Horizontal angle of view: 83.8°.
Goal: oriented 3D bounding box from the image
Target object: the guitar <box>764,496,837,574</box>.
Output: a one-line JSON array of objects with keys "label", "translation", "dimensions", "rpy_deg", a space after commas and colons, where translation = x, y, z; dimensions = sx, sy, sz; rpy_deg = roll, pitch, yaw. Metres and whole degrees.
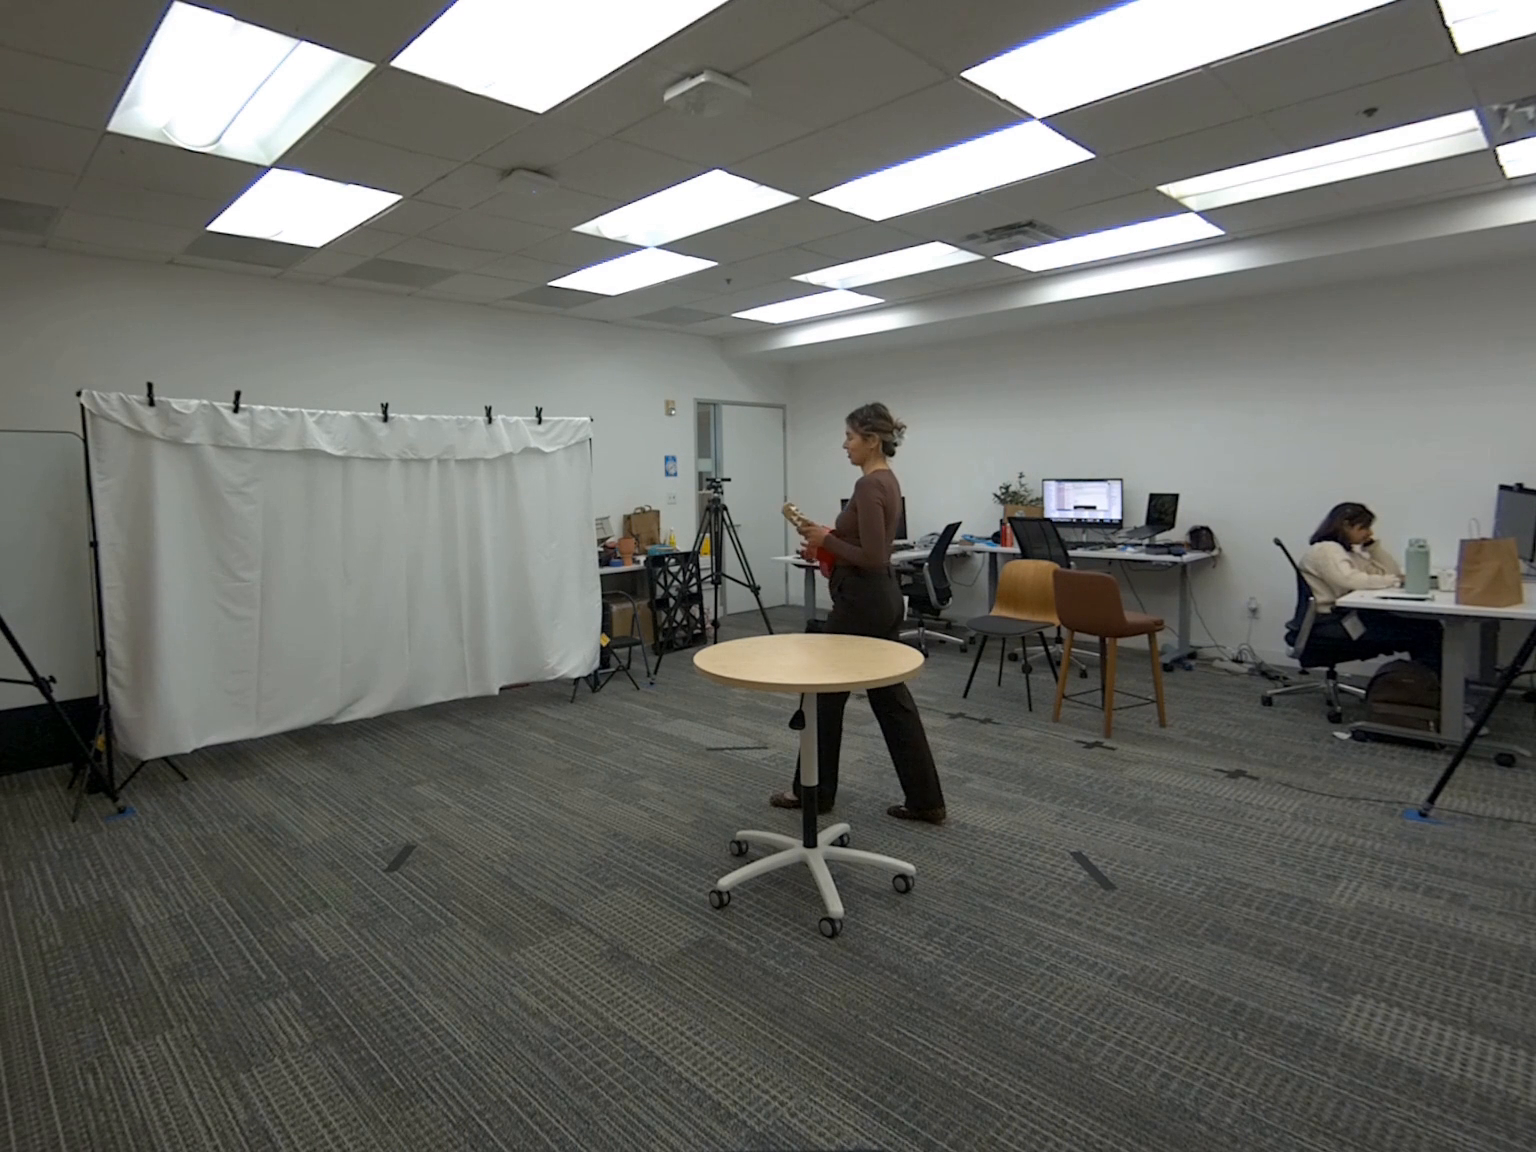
[{"label": "guitar", "translation": [0.202, -0.136, 3.518], "dimensions": [0.073, 0.193, 0.479], "rpy_deg": [29, 0, 45]}]
